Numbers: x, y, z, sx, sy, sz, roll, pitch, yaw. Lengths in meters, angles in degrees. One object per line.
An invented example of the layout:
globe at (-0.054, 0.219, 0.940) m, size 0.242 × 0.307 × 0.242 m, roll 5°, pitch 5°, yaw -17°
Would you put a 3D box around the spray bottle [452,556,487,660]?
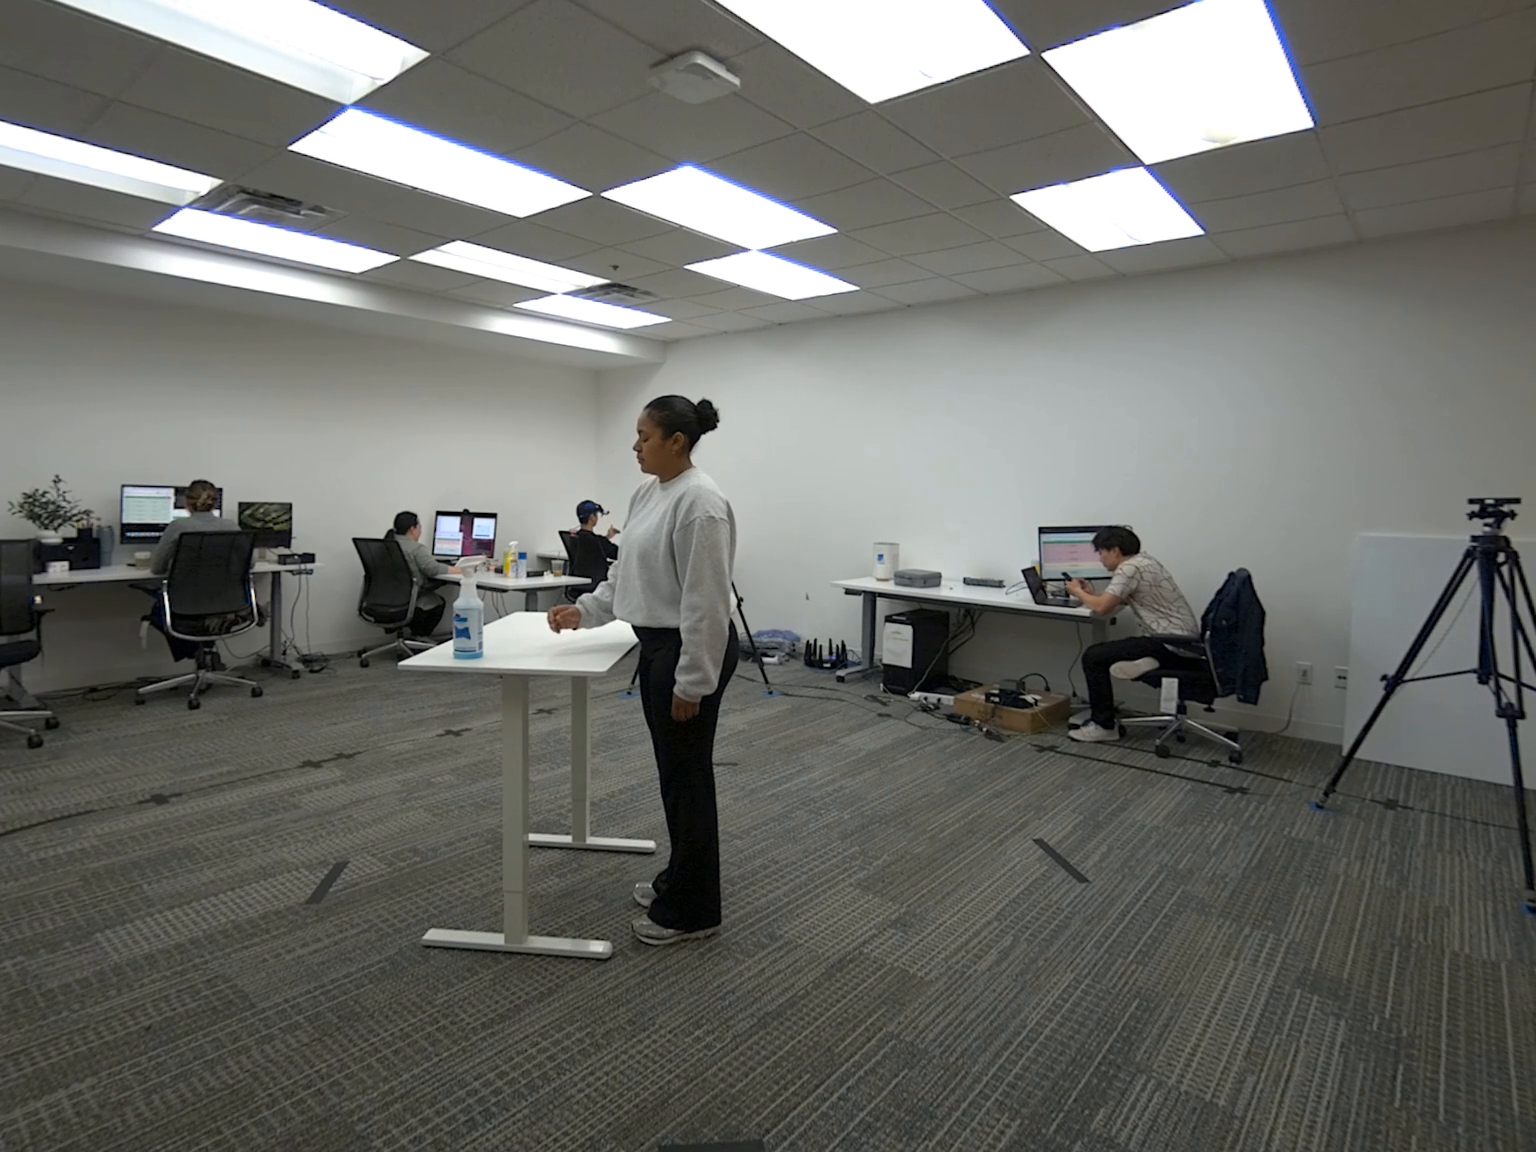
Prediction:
spray bottle at (-0.895, 0.091, 2.502) m, size 0.089 × 0.297 × 0.088 m, roll 2°, pitch 1°, yaw -15°
